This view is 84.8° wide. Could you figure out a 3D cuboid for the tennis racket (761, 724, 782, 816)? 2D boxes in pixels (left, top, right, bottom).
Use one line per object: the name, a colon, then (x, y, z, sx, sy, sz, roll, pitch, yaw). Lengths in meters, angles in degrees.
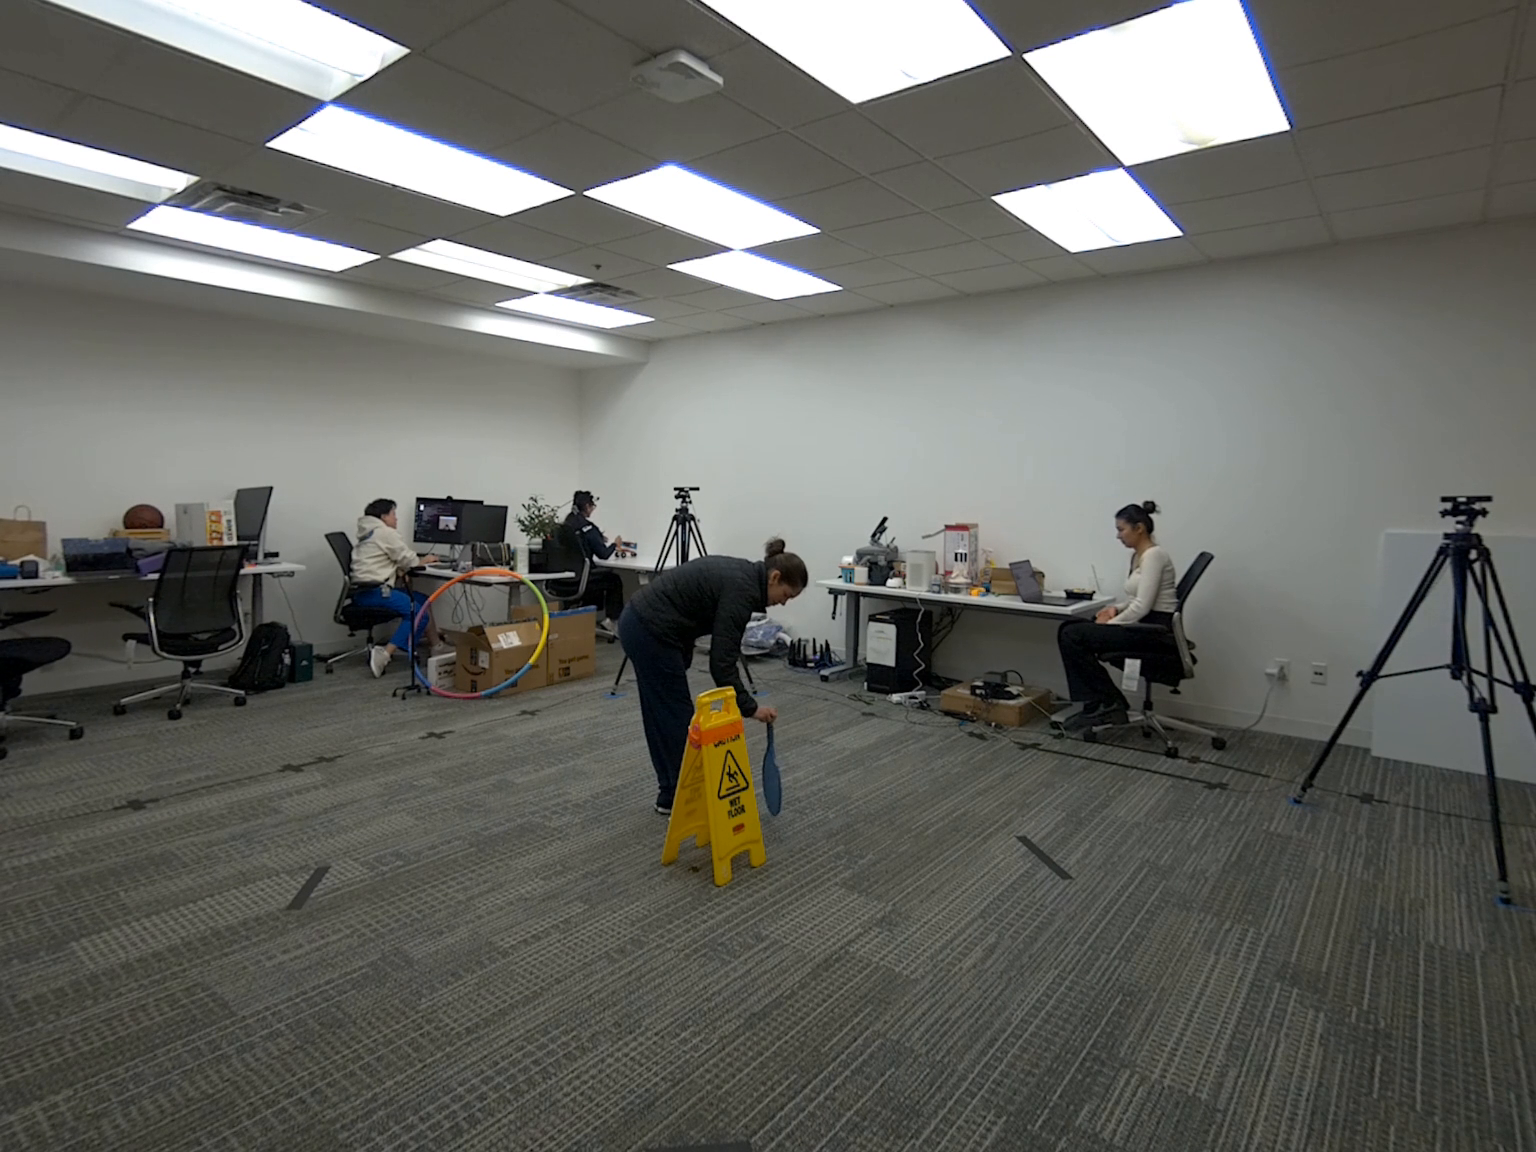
tennis racket: (0.036, 0.790, 3.550, 0.031, 0.432, 0.217, -1, 2, -15)
